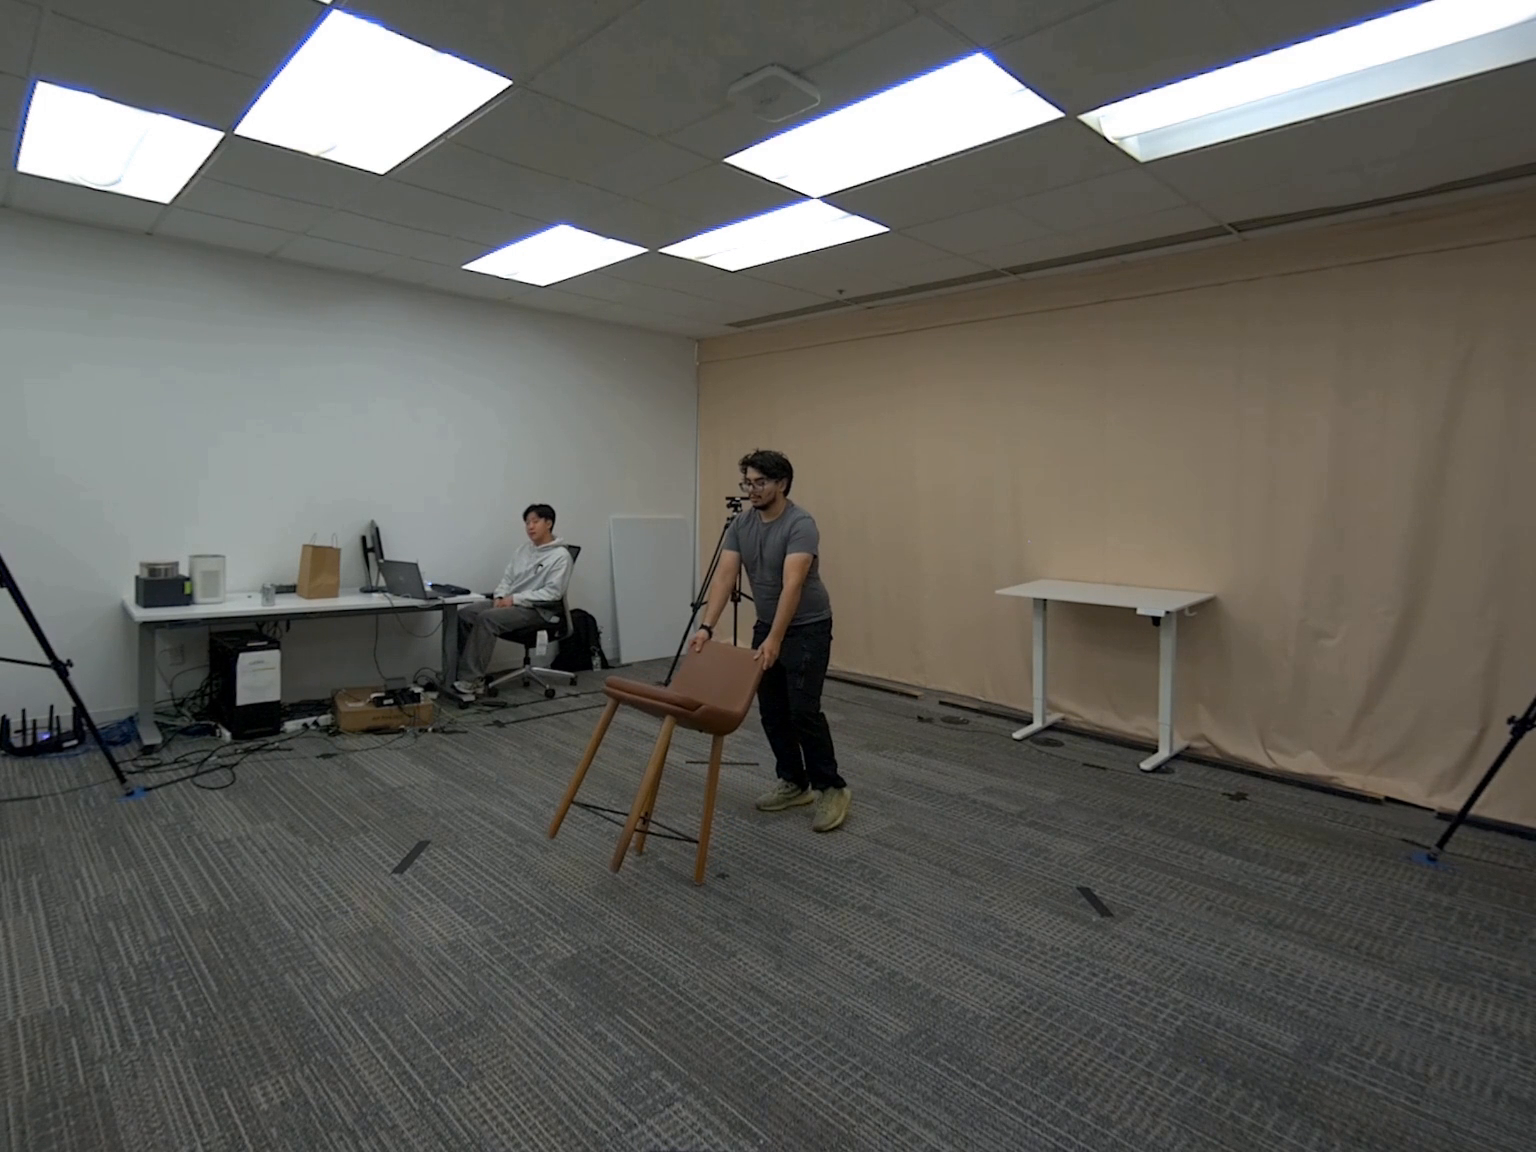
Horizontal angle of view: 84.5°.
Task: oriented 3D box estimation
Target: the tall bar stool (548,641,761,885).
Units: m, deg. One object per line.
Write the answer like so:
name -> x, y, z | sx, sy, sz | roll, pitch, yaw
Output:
tall bar stool -> -0.387, 0.616, 3.114 | 0.468, 0.895, 0.453 | 4, -20, 44
